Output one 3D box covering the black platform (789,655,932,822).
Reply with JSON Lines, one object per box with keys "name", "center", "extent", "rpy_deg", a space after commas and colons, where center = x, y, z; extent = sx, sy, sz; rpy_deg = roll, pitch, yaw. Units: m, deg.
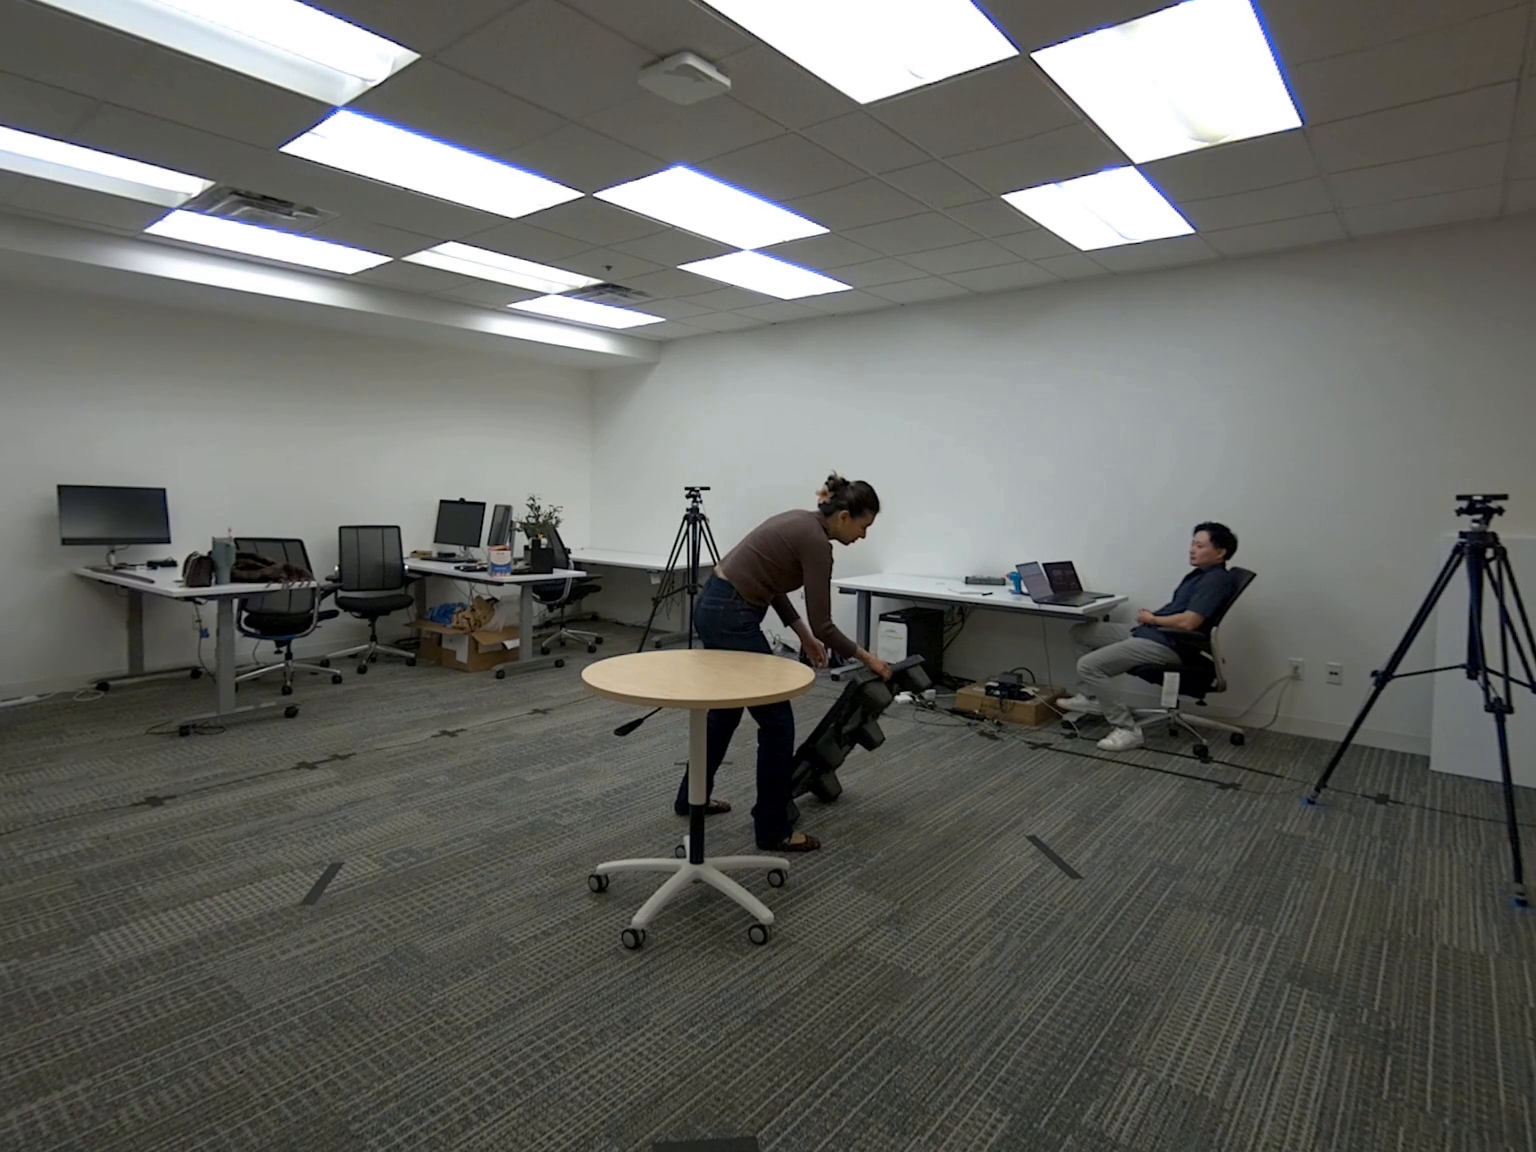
{"name": "black platform", "center": [0.325, 0.691, 3.550], "extent": [0.148, 0.801, 0.588], "rpy_deg": [44, 25, 24]}
